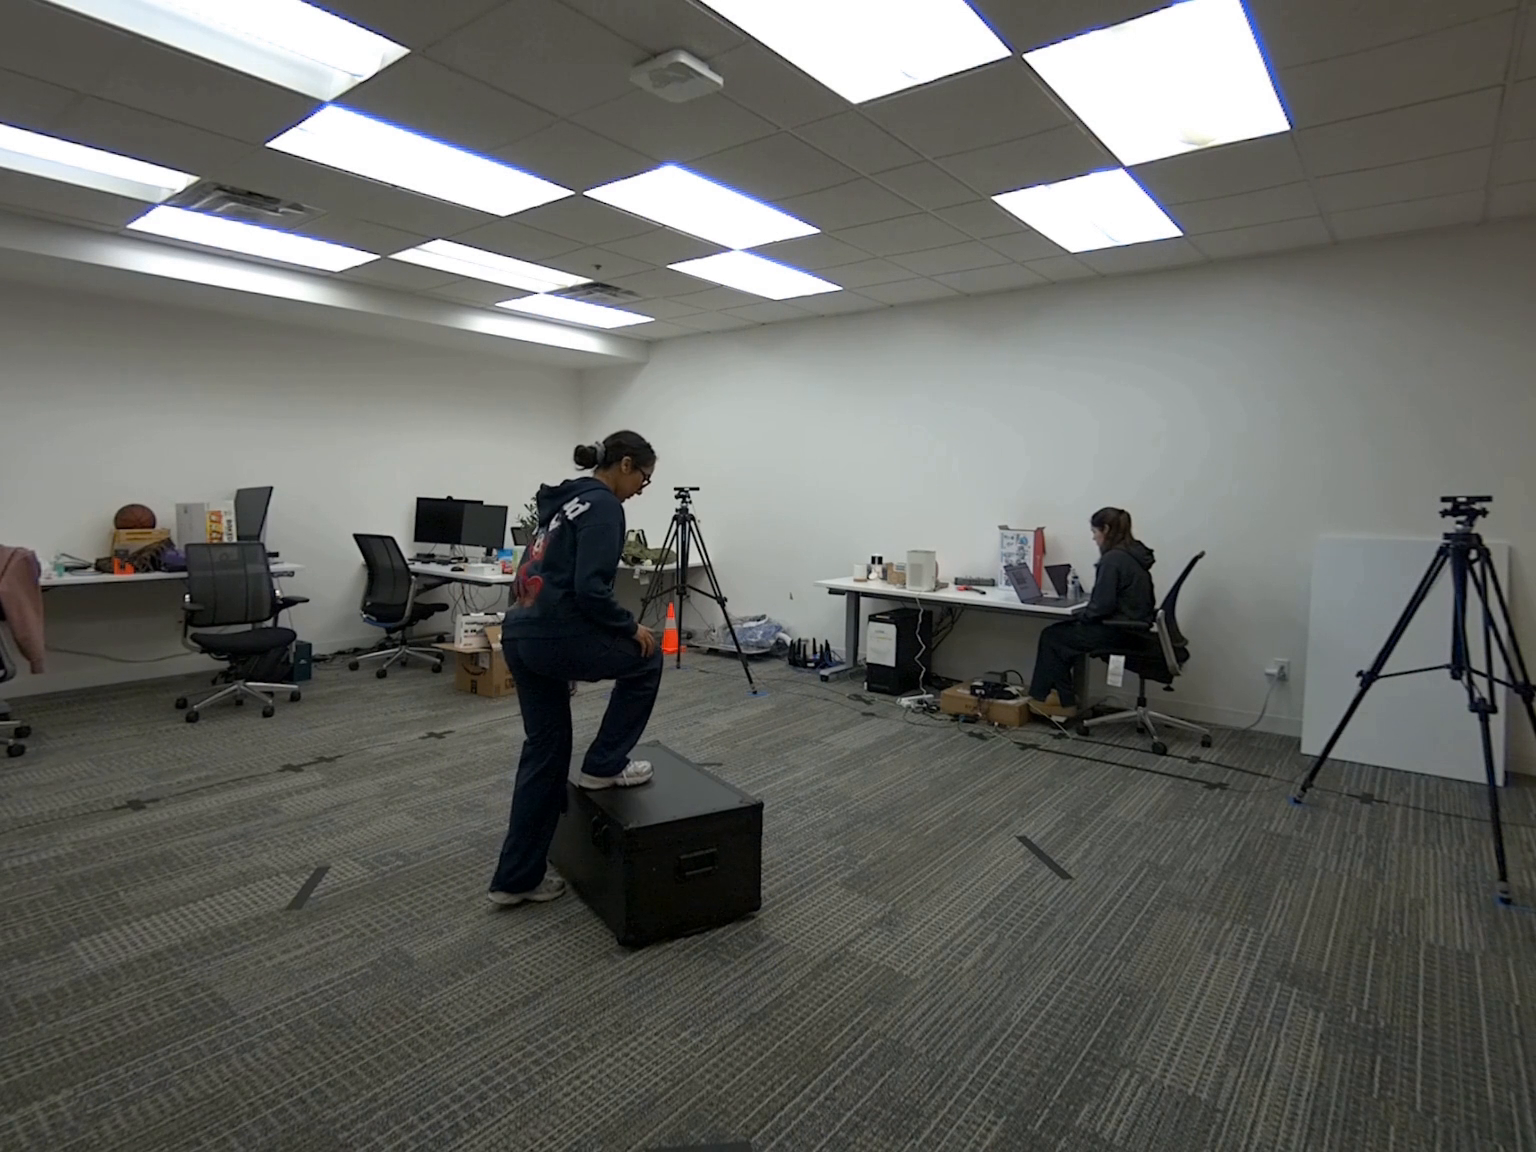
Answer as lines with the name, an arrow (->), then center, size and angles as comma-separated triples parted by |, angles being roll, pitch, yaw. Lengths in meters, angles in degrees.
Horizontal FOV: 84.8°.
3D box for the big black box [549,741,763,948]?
big black box -> -0.461, 0.898, 2.989 | 0.385, 0.520, 0.889 | 0, 4, -34
